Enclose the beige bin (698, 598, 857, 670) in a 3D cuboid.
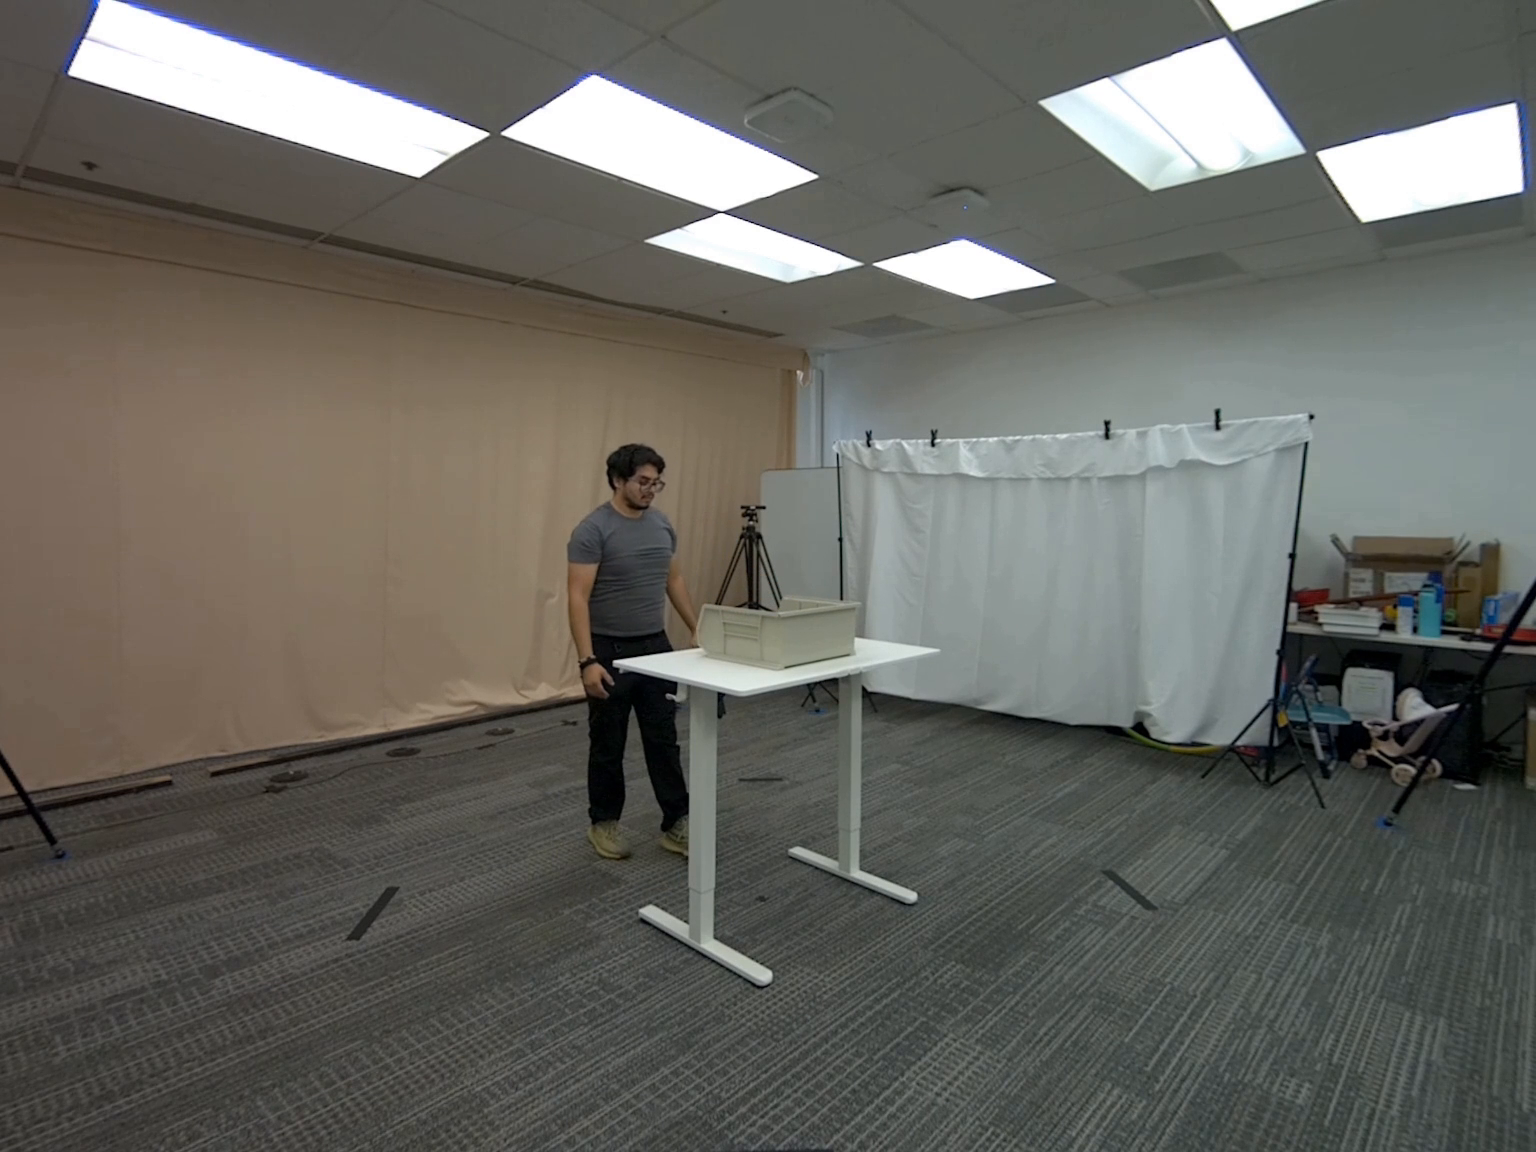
[{"bbox_3d":[0.036,0.183,2.852,0.390,0.188,0.409,6,7,43],"label":"beige bin"}]
